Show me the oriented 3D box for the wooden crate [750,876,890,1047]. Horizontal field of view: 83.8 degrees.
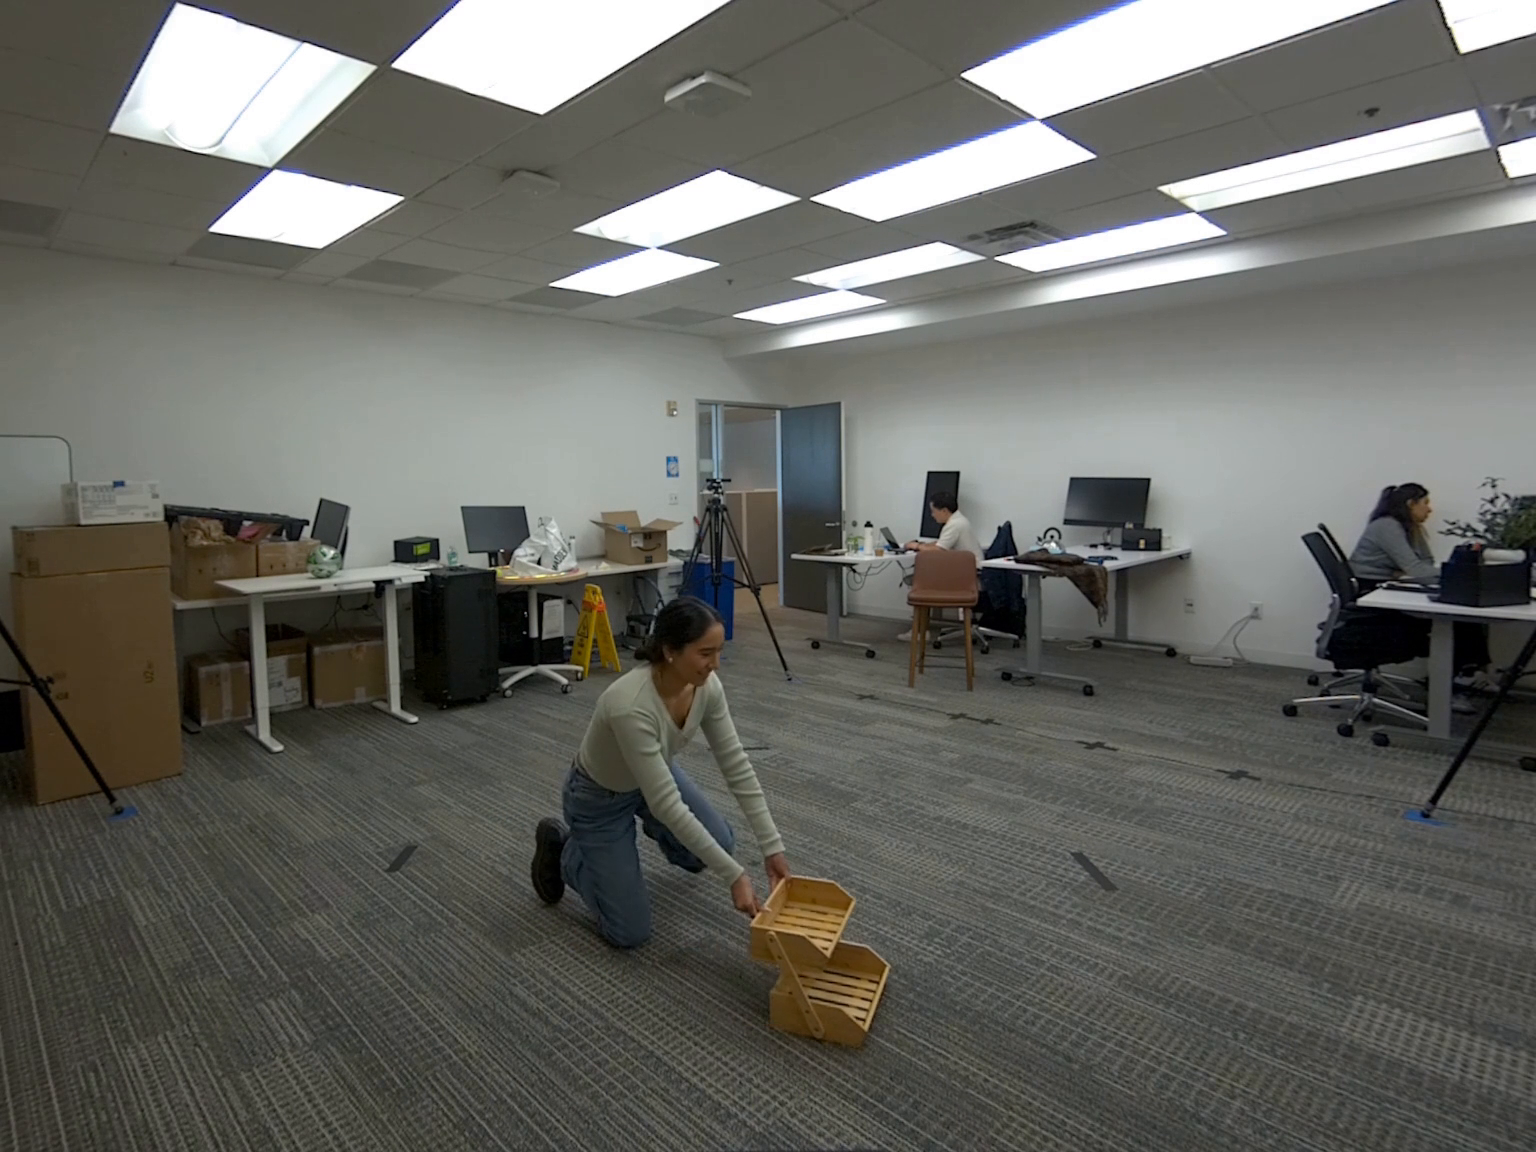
[{"bbox_3d":[0.153,1.007,2.265,0.308,0.272,0.319,-1,5,20],"label":"wooden crate"}]
